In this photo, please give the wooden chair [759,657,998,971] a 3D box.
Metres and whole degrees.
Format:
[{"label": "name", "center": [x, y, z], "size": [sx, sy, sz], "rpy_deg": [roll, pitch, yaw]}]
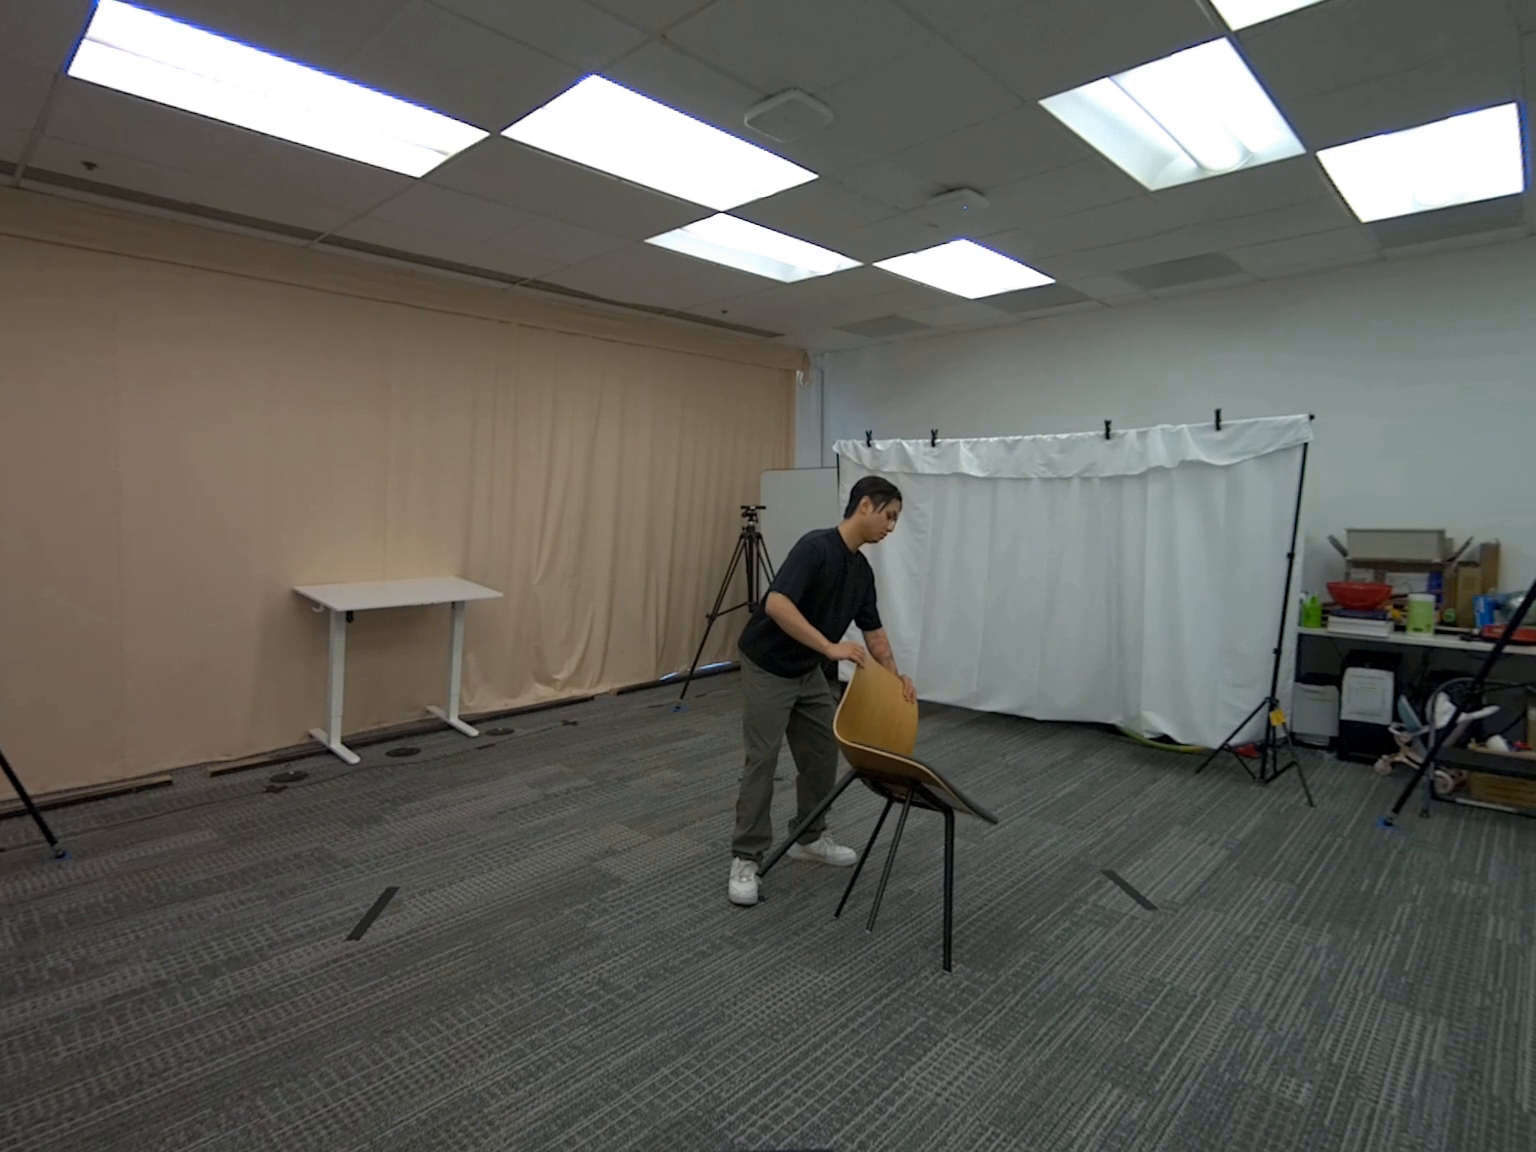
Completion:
[{"label": "wooden chair", "center": [0.436, 0.692, 2.675], "size": [0.540, 0.880, 0.462], "rpy_deg": [-2, -33, 45]}]
